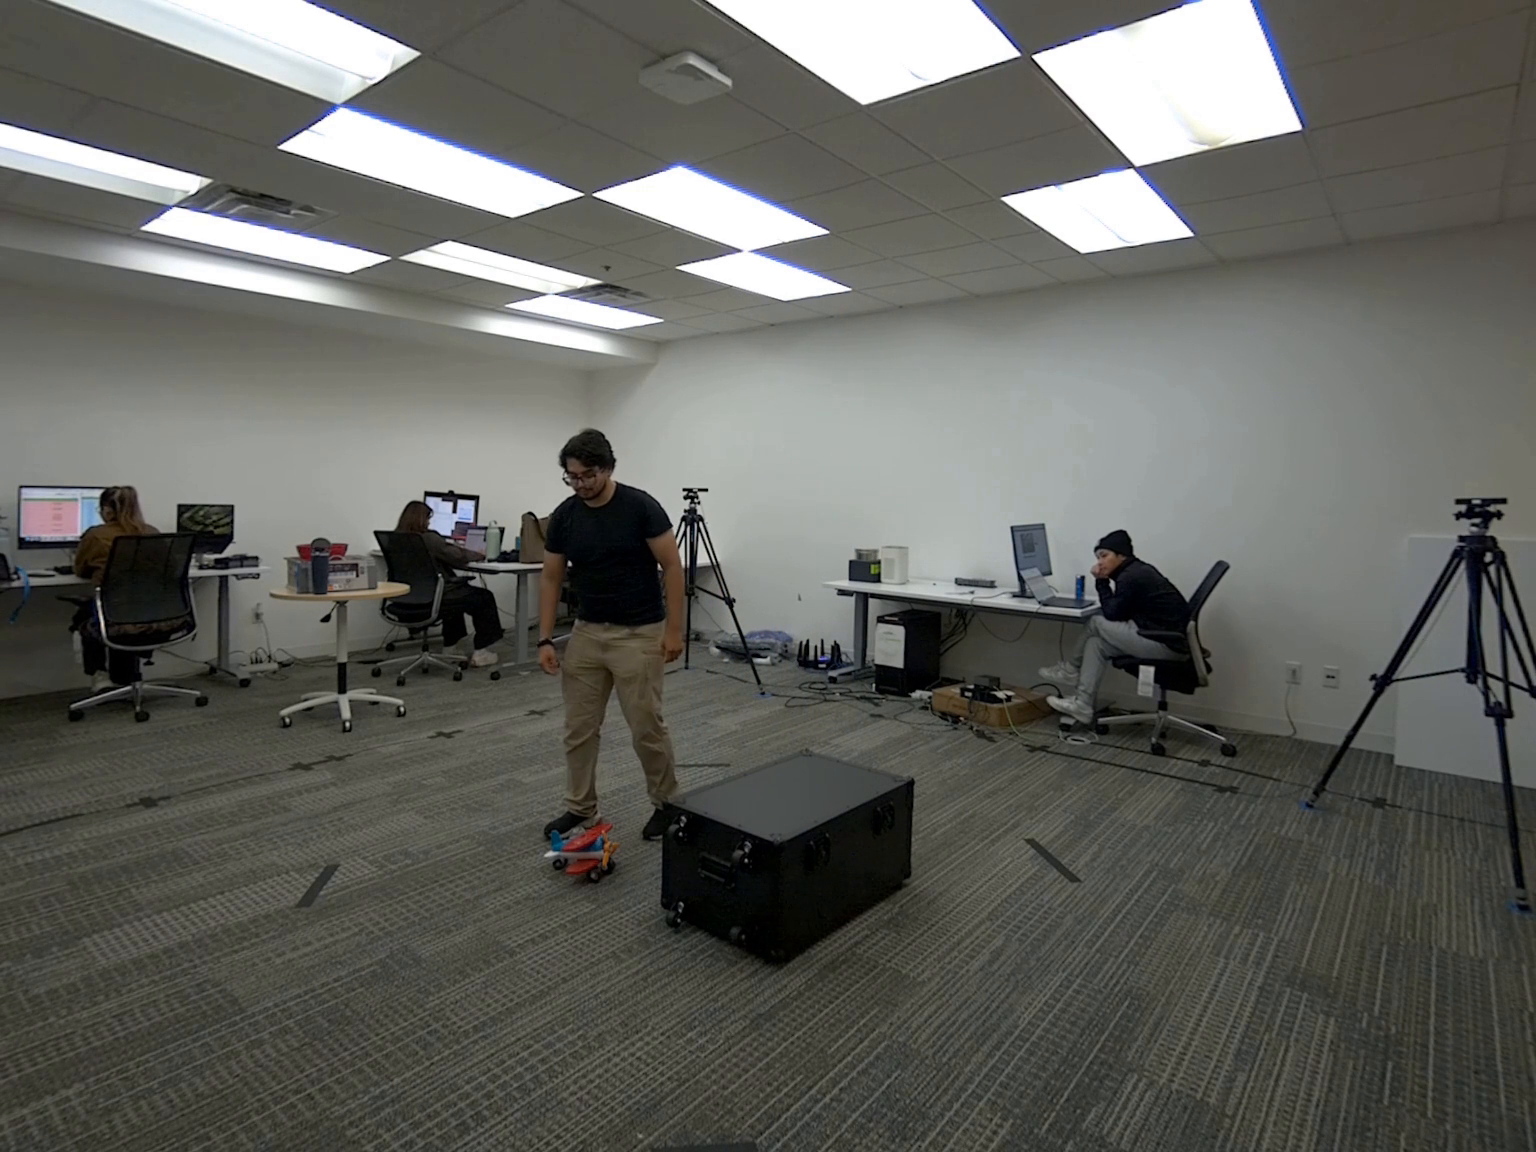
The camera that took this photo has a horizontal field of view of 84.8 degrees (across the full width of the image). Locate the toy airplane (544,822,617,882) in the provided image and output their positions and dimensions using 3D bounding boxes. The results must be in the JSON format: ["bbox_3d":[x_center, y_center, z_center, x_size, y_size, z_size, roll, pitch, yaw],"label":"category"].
[{"bbox_3d":[-0.687,0.994,3.048,0.258,0.156,0.253,2,5,-5],"label":"toy airplane"}]
